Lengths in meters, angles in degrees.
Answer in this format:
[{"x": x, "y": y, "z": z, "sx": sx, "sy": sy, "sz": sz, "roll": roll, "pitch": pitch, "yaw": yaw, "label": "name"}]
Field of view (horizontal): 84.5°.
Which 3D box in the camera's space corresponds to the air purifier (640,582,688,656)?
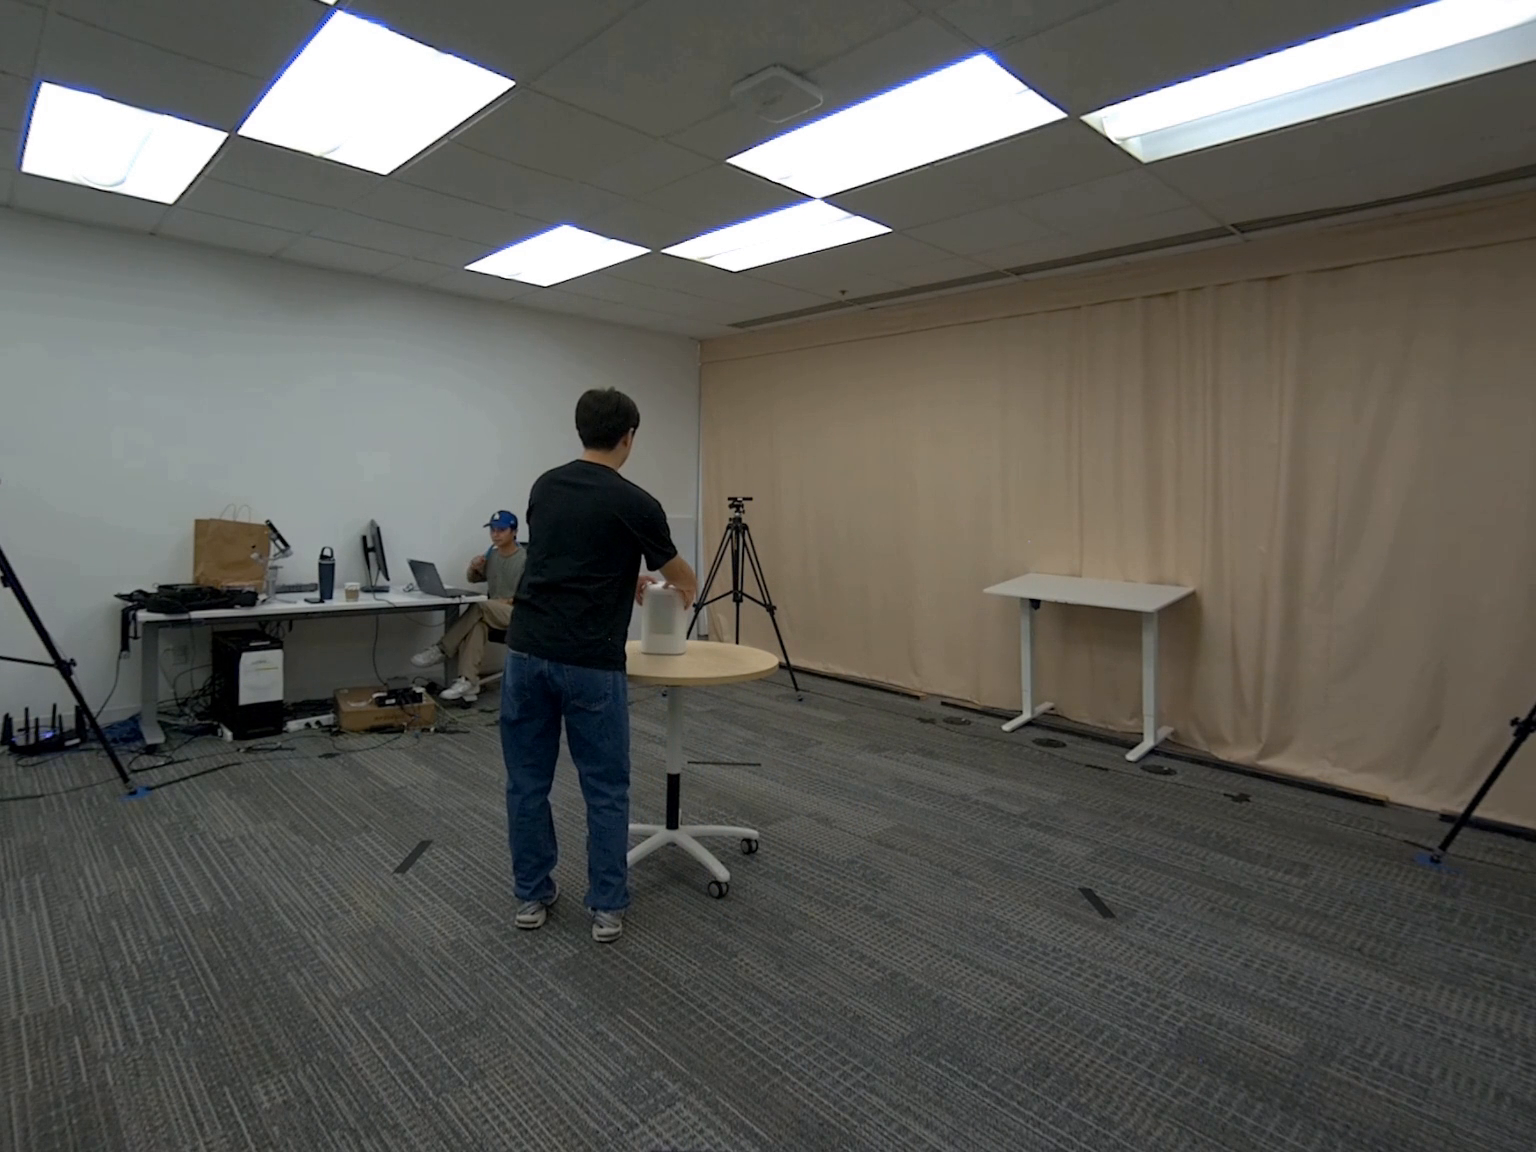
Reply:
[{"x": -0.406, "y": 0.163, "z": 3.250, "sx": 0.172, "sy": 0.264, "sz": 0.171, "roll": 3, "pitch": 5, "yaw": 3, "label": "air purifier"}]
